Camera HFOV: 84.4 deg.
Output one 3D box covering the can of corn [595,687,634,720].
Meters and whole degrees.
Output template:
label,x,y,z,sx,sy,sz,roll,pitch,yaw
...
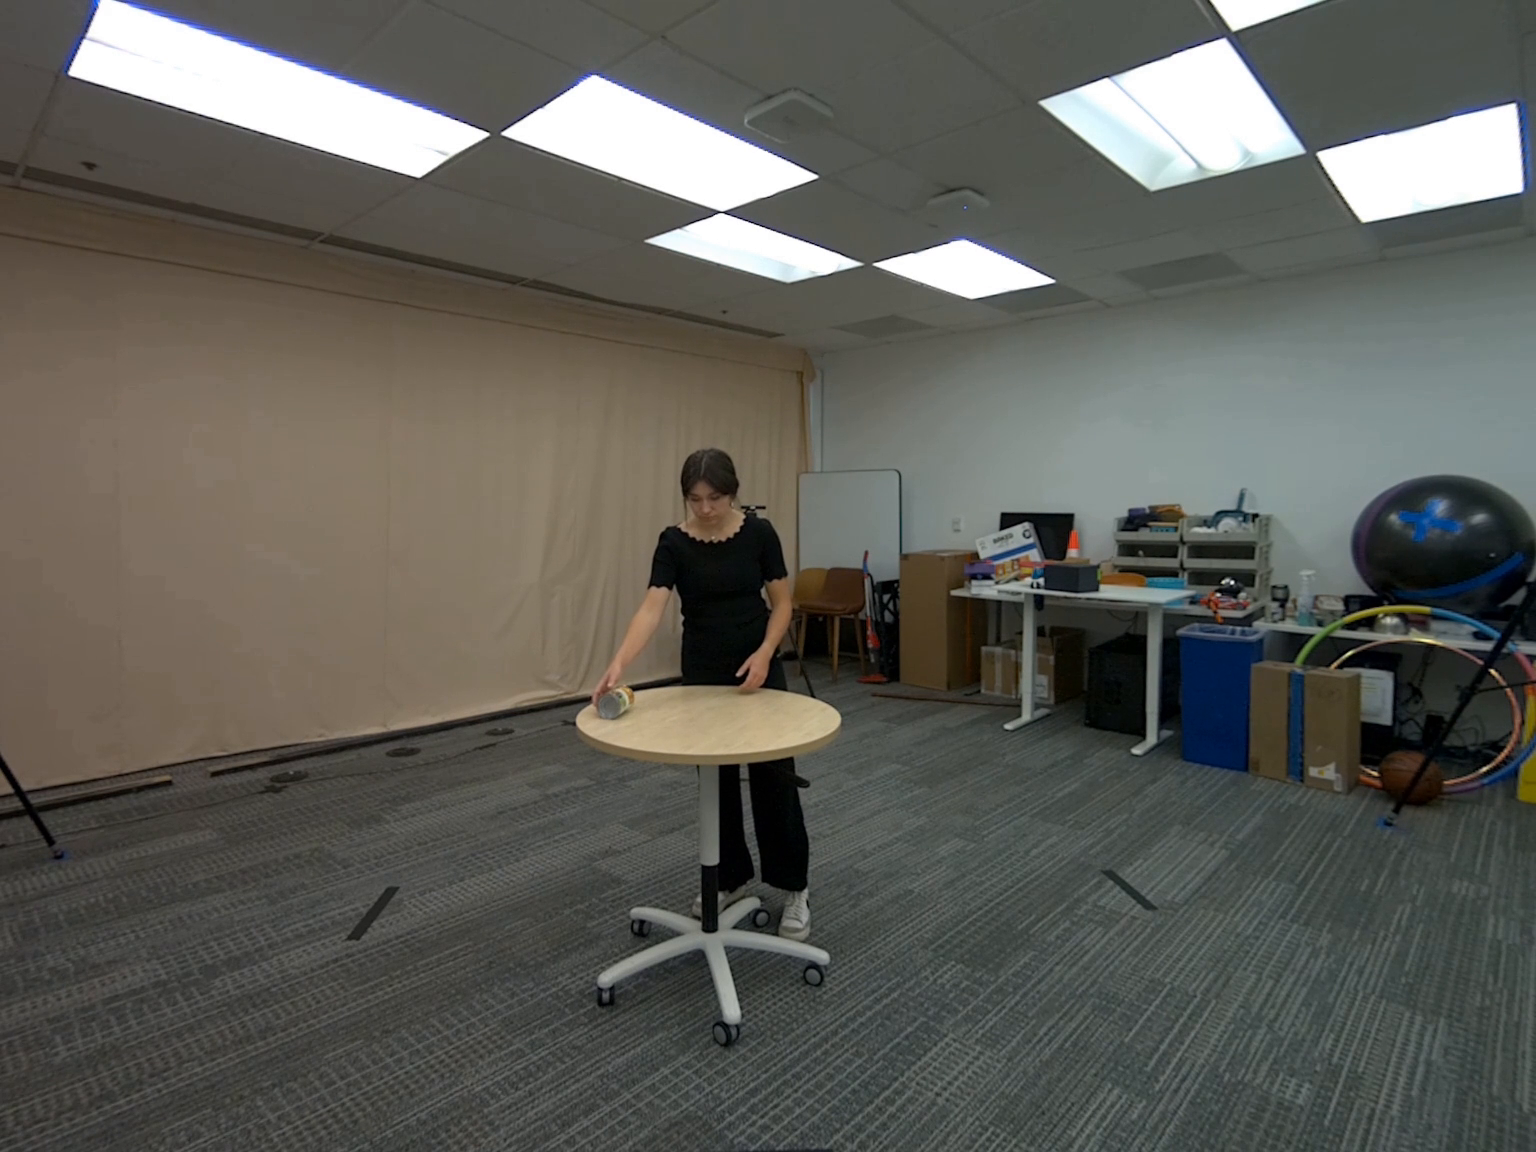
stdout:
label,x,y,z,sx,sy,sz,roll,pitch,yaw
can of corn,-0.441,0.368,2.438,0.075,0.074,0.110,1,5,8
